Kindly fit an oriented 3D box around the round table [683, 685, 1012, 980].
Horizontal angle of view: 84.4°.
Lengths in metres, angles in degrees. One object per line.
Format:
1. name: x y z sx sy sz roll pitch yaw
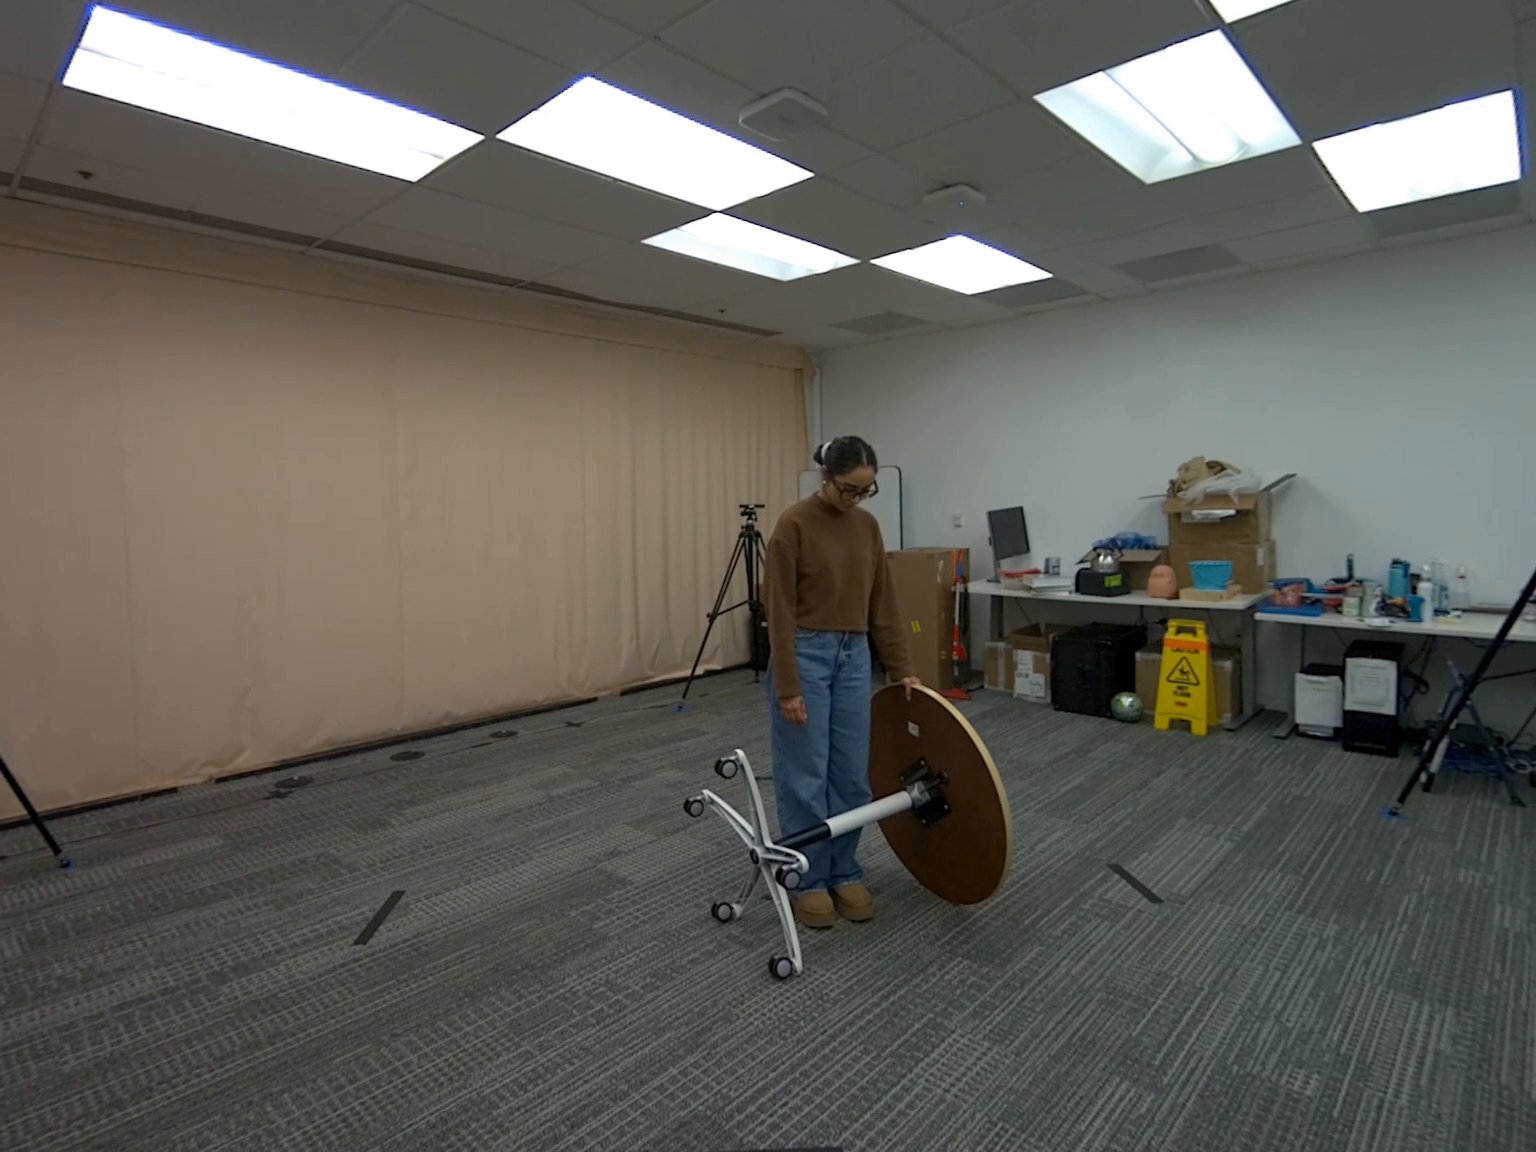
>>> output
1. round table: 0.233 0.819 2.770 0.776 0.760 0.785 -12 8 -27
